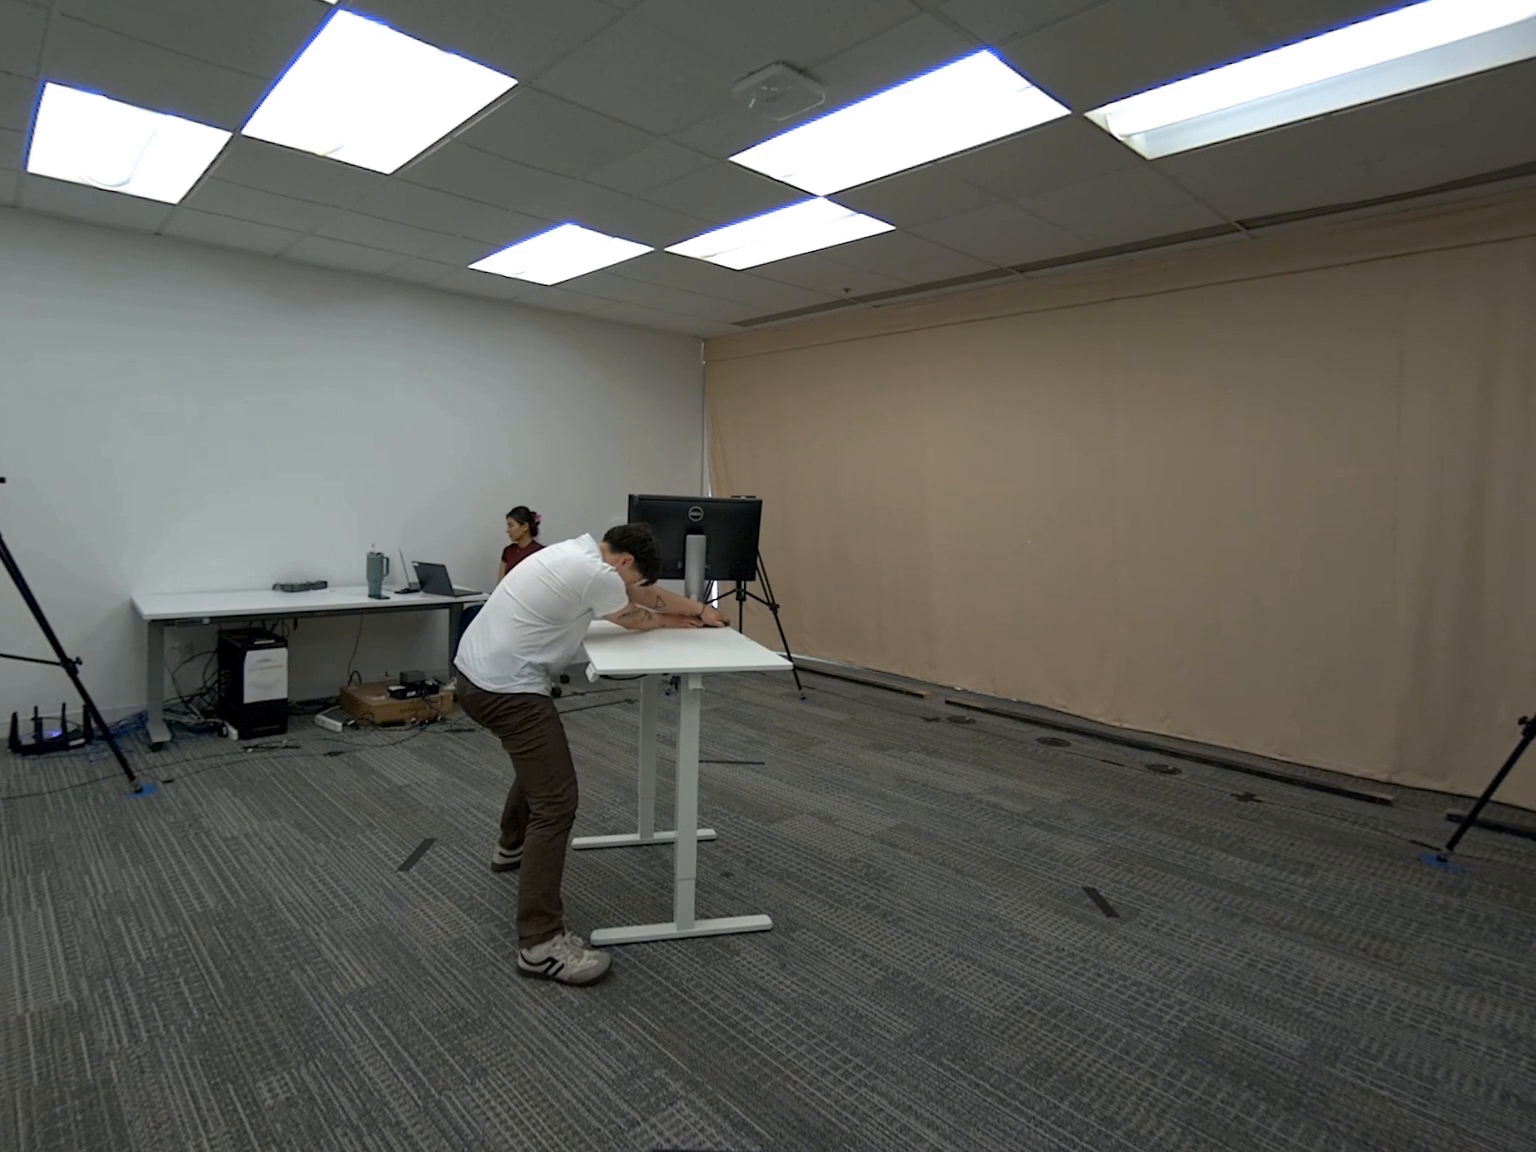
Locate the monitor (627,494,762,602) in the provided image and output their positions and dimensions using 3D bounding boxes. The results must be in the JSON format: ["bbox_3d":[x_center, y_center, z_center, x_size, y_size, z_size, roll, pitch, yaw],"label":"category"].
[{"bbox_3d":[-0.300,-0.060,3.369,0.534,0.521,0.189,1,5,-12],"label":"monitor"}]
